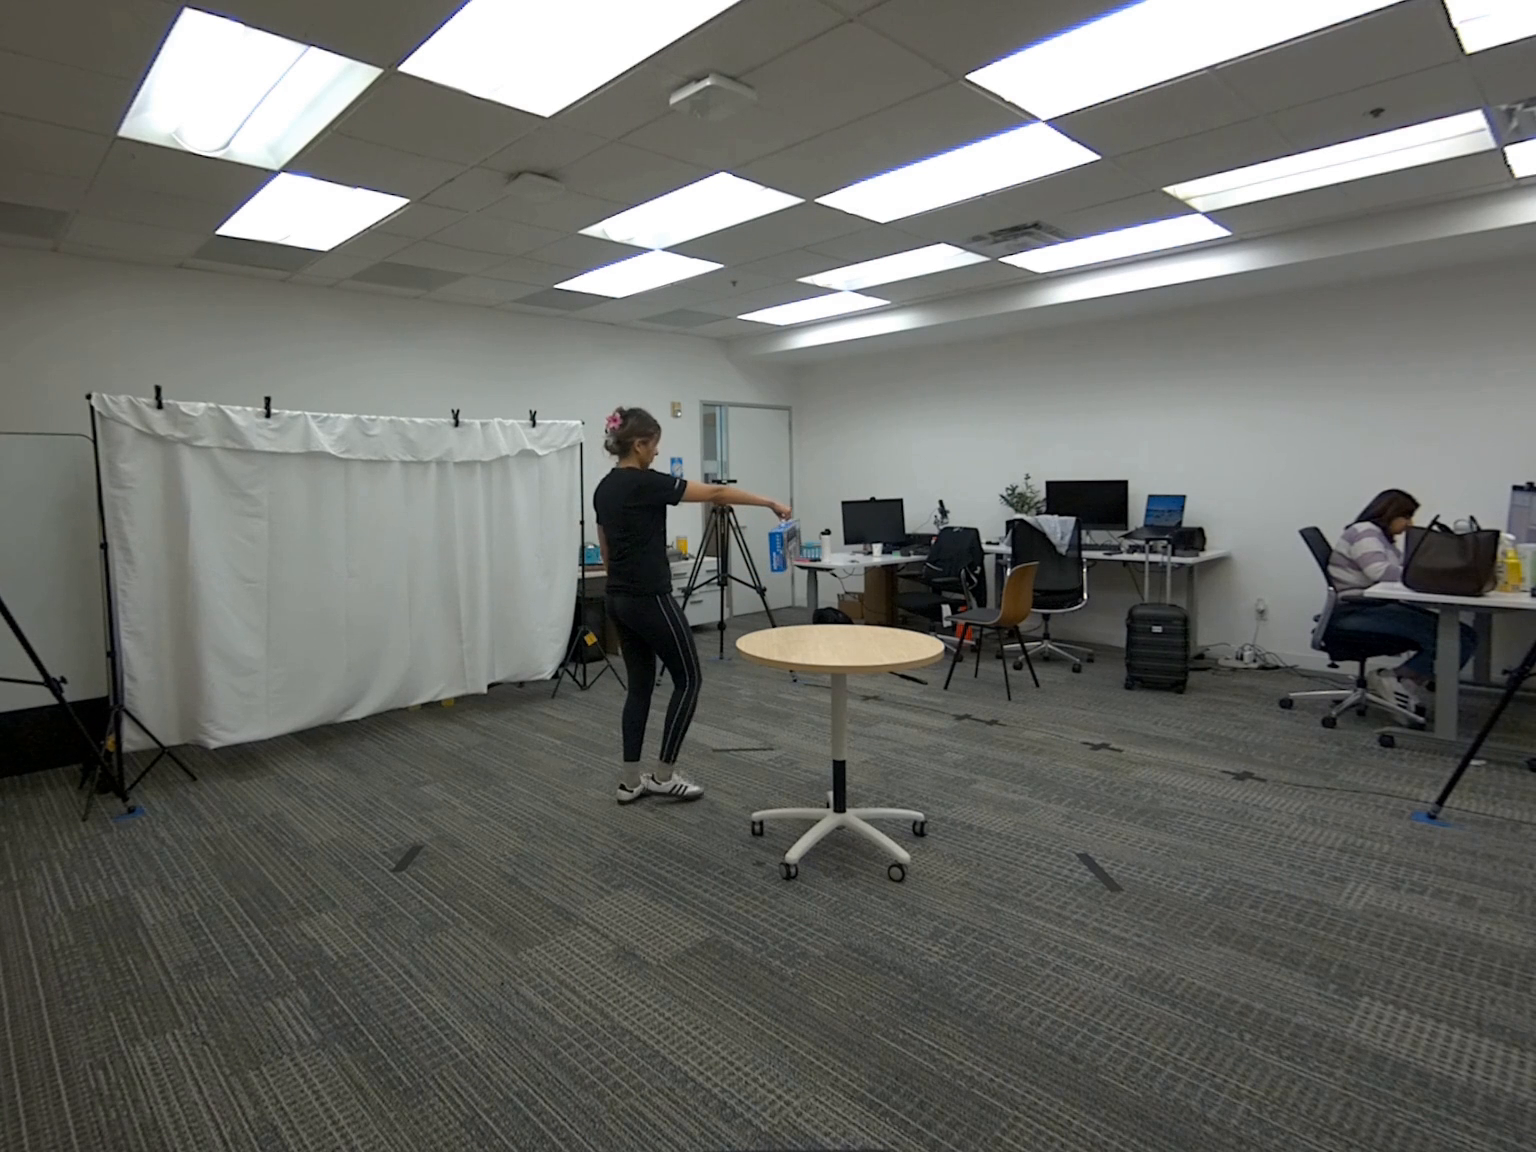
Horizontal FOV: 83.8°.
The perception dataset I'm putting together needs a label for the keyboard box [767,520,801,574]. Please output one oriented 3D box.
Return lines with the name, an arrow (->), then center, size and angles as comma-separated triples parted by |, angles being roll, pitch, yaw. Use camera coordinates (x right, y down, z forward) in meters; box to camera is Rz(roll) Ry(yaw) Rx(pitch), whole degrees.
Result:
keyboard box -> 0.077, -0.137, 3.799 | 0.060, 0.174, 0.435 | -2, 10, 13
